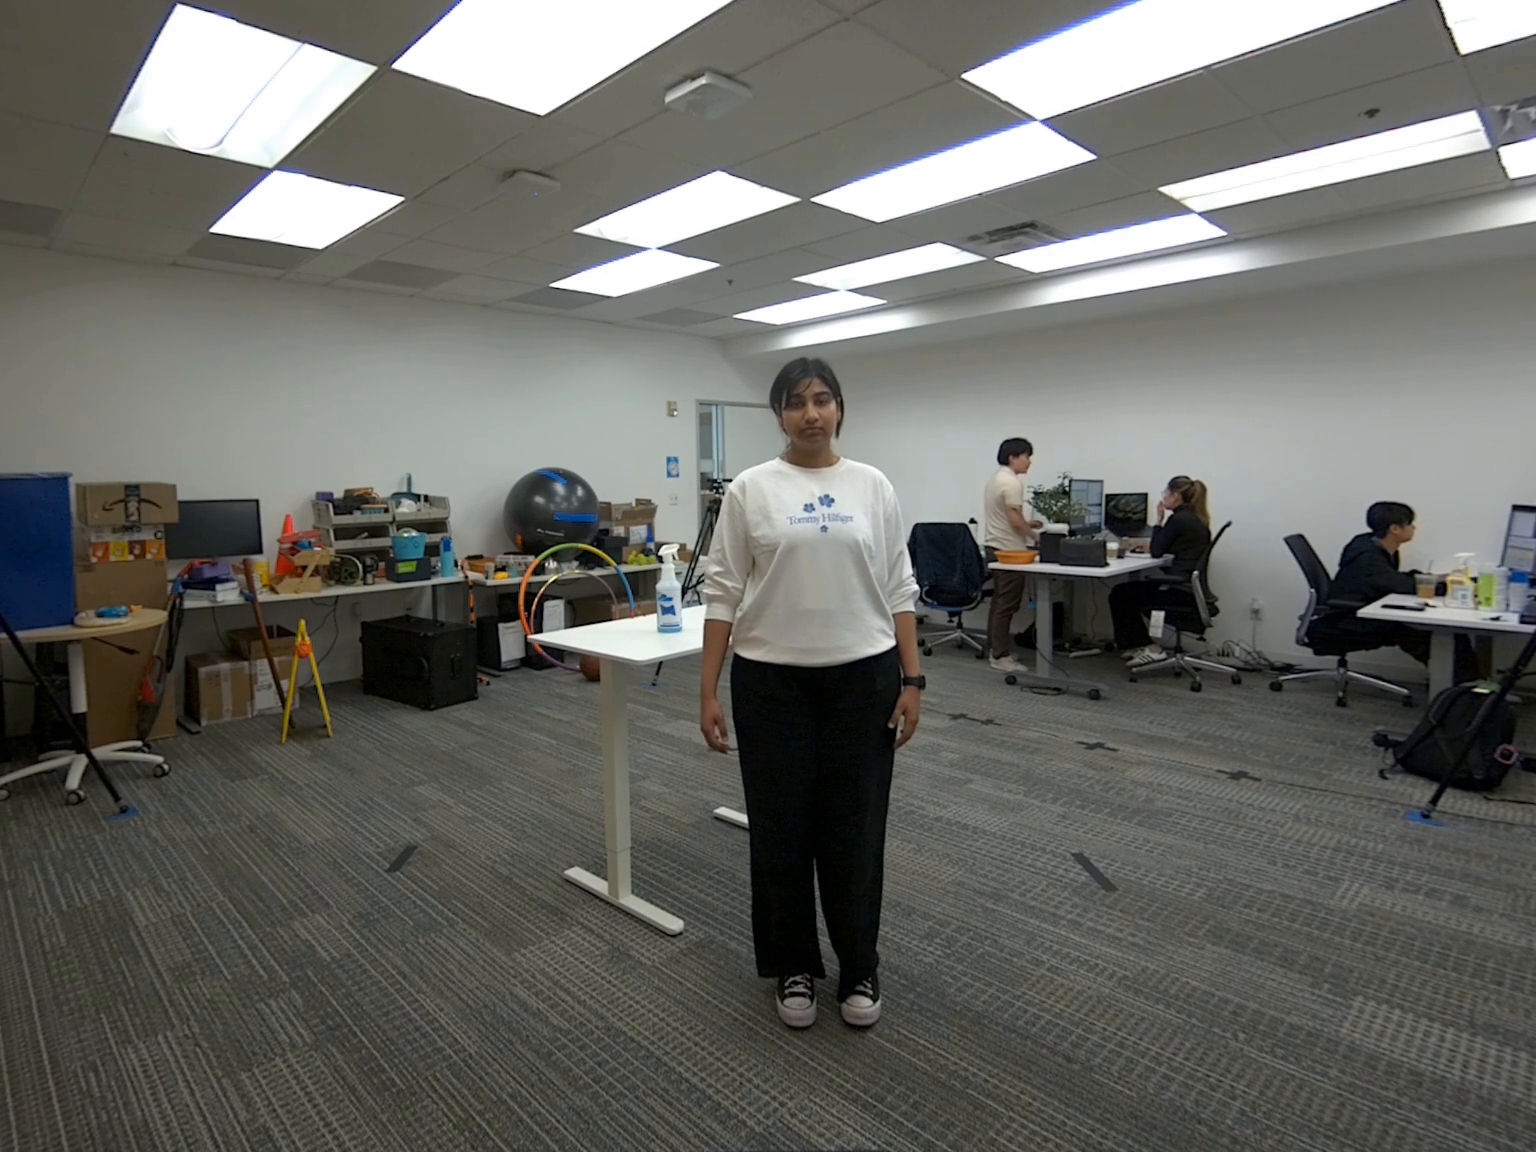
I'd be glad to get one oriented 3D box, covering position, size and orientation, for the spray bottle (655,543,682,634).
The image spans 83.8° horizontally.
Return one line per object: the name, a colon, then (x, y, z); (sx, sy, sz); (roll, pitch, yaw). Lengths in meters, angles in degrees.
spray bottle: (-0.335, 0.042, 2.928); (0.088, 0.296, 0.089); (-1, 3, -25)
